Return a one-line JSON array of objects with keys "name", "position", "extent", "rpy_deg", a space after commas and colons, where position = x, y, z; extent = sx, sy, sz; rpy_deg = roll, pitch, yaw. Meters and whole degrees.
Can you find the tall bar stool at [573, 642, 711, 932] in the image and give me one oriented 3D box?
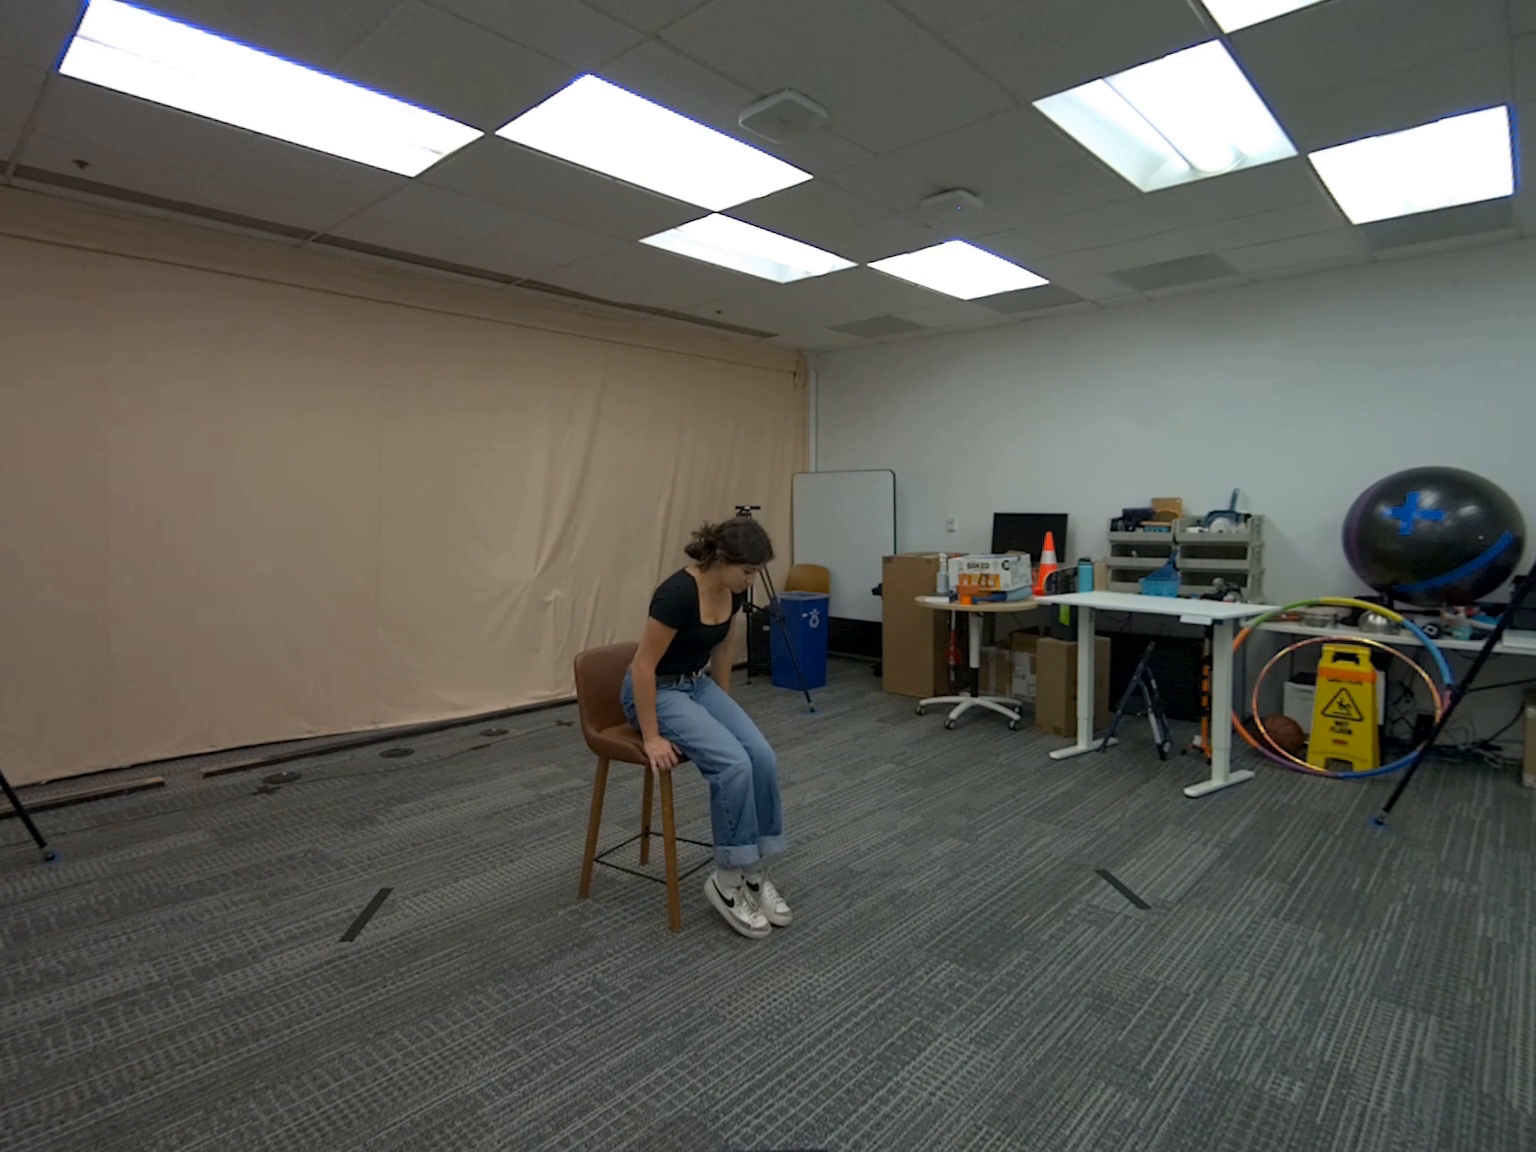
[{"name": "tall bar stool", "position": [-0.398, 0.710, 3.018], "extent": [0.481, 0.888, 0.444], "rpy_deg": [0, 3, 32]}]
